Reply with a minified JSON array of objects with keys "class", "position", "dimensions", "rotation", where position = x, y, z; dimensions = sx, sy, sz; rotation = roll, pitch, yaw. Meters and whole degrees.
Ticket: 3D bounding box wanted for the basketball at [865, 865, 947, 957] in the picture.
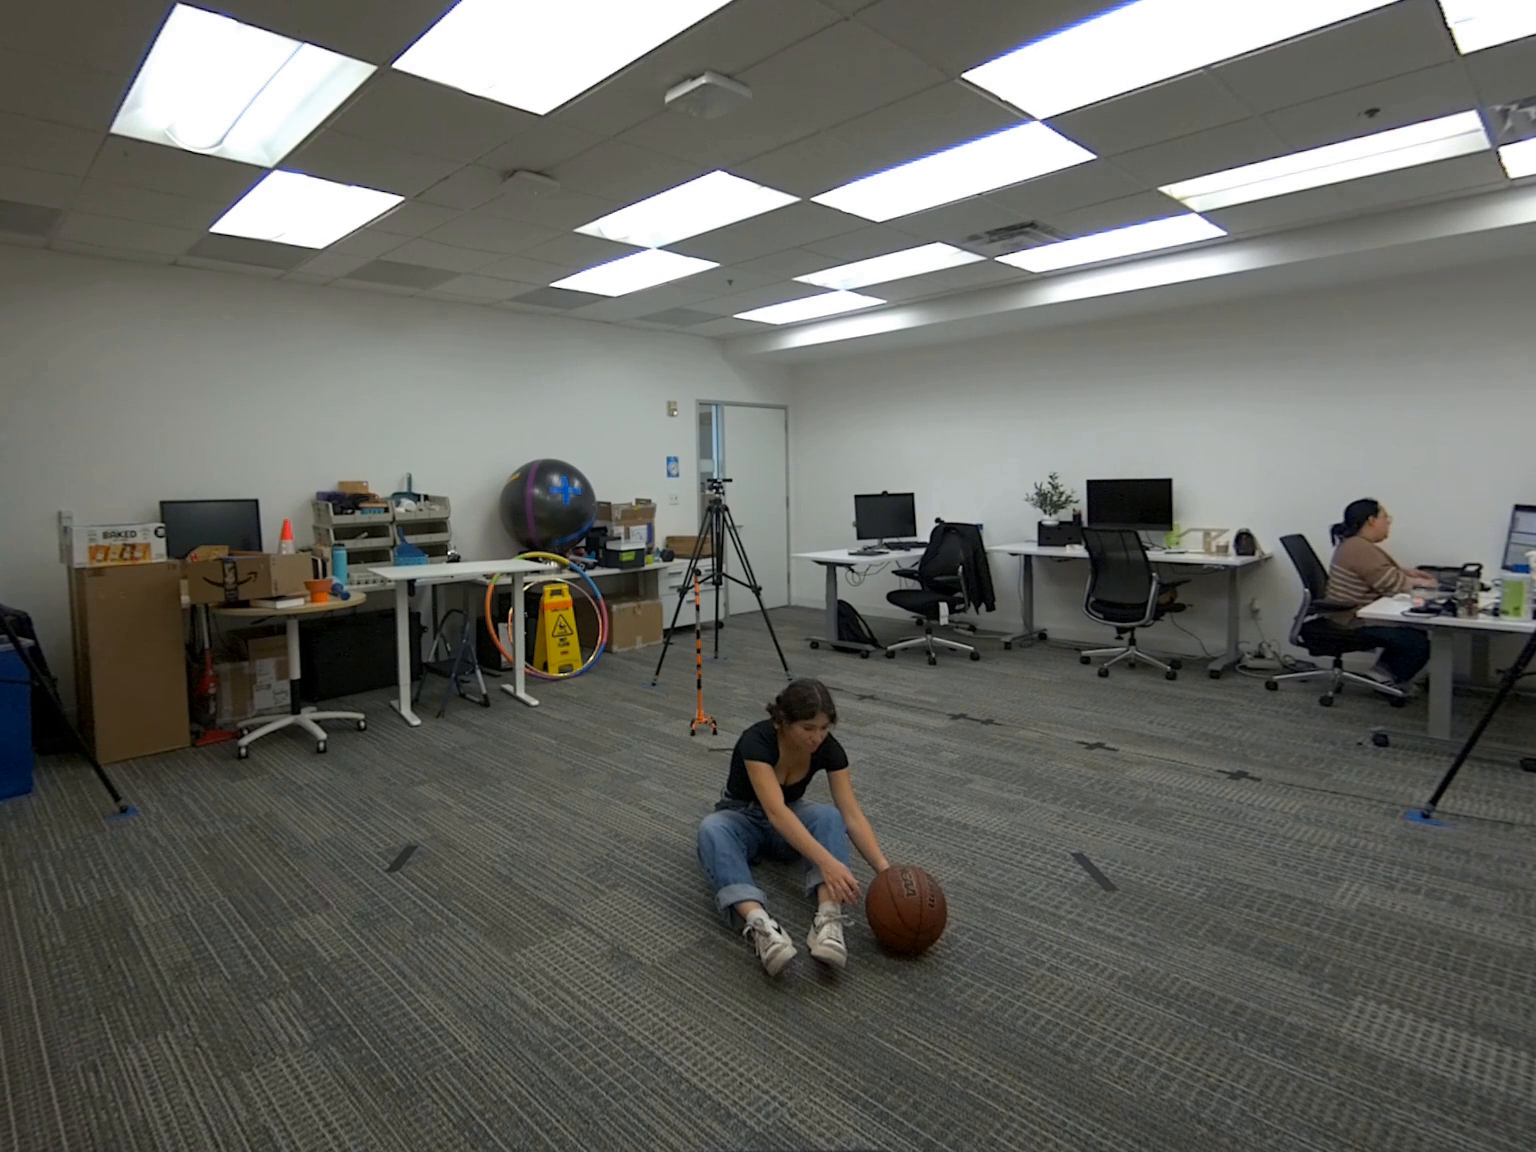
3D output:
[{"class":"basketball","position":[0.419,0.984,2.529],"dimensions":[0.236,0.235,0.237],"rotation":[-1,5,-2]}]
